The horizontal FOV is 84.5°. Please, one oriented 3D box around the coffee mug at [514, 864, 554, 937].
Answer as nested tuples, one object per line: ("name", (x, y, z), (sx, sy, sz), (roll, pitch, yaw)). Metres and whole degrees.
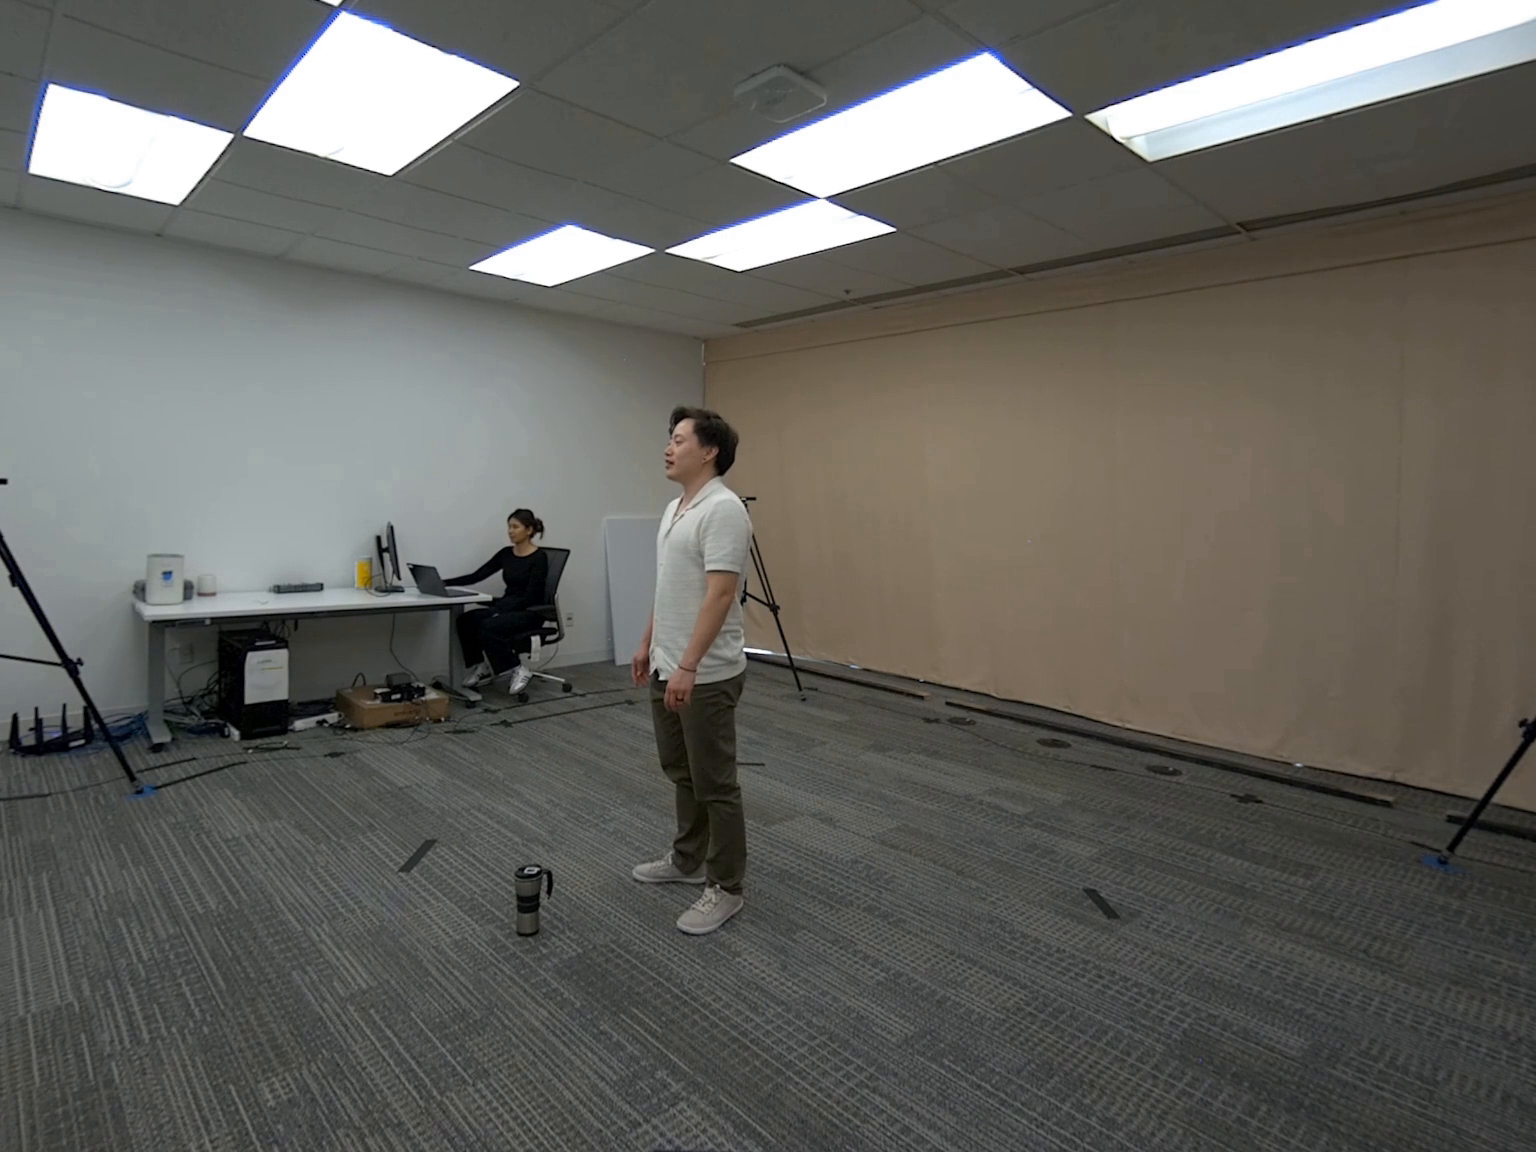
("coffee mug", (-0.749, 1.036, 2.672), (0.121, 0.203, 0.089), (-4, 2, -15))
